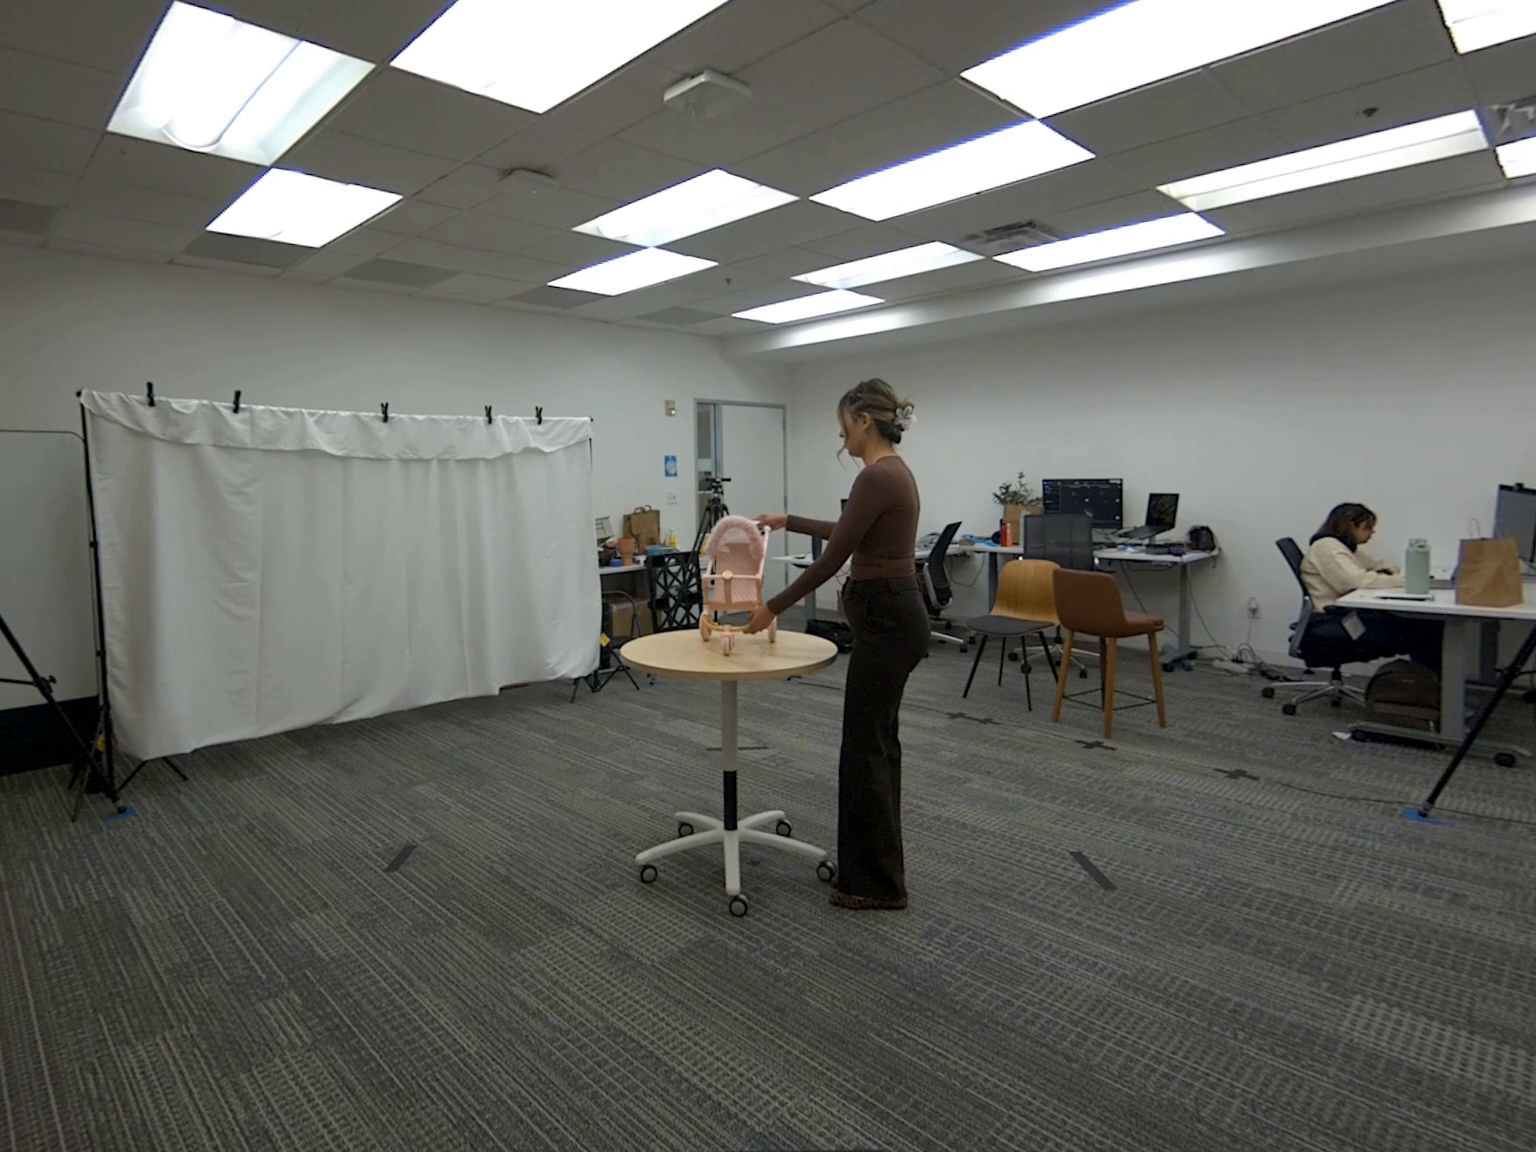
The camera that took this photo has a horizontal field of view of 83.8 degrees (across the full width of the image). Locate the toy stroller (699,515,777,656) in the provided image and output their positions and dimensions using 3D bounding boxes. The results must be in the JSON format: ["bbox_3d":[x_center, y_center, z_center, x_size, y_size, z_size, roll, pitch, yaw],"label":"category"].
[{"bbox_3d":[-0.116,0.023,3.067,0.285,0.540,0.334,-1,-11,11],"label":"toy stroller"}]
